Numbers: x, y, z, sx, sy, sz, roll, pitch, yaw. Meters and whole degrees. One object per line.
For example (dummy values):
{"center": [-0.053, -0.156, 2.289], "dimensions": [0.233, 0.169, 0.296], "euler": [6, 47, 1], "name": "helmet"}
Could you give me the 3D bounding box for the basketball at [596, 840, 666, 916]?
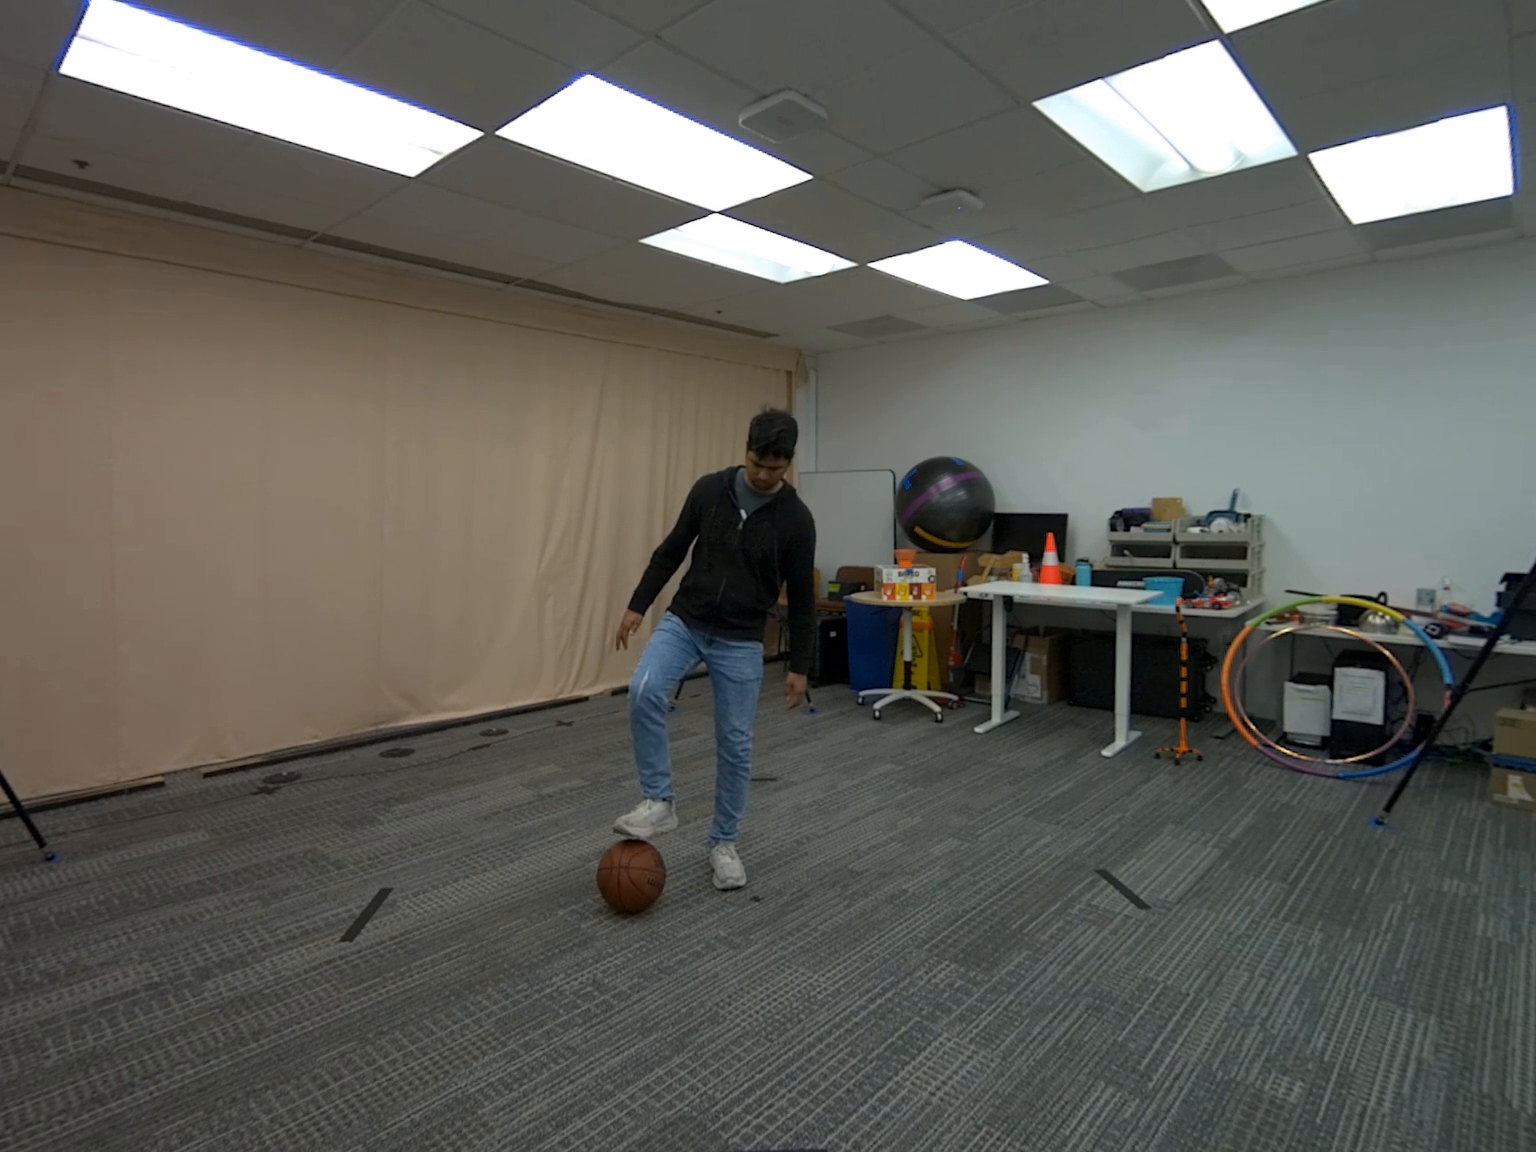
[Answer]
{"center": [-0.471, 1.035, 2.899], "dimensions": [0.236, 0.235, 0.237], "euler": [0, 4, -2], "name": "basketball"}
